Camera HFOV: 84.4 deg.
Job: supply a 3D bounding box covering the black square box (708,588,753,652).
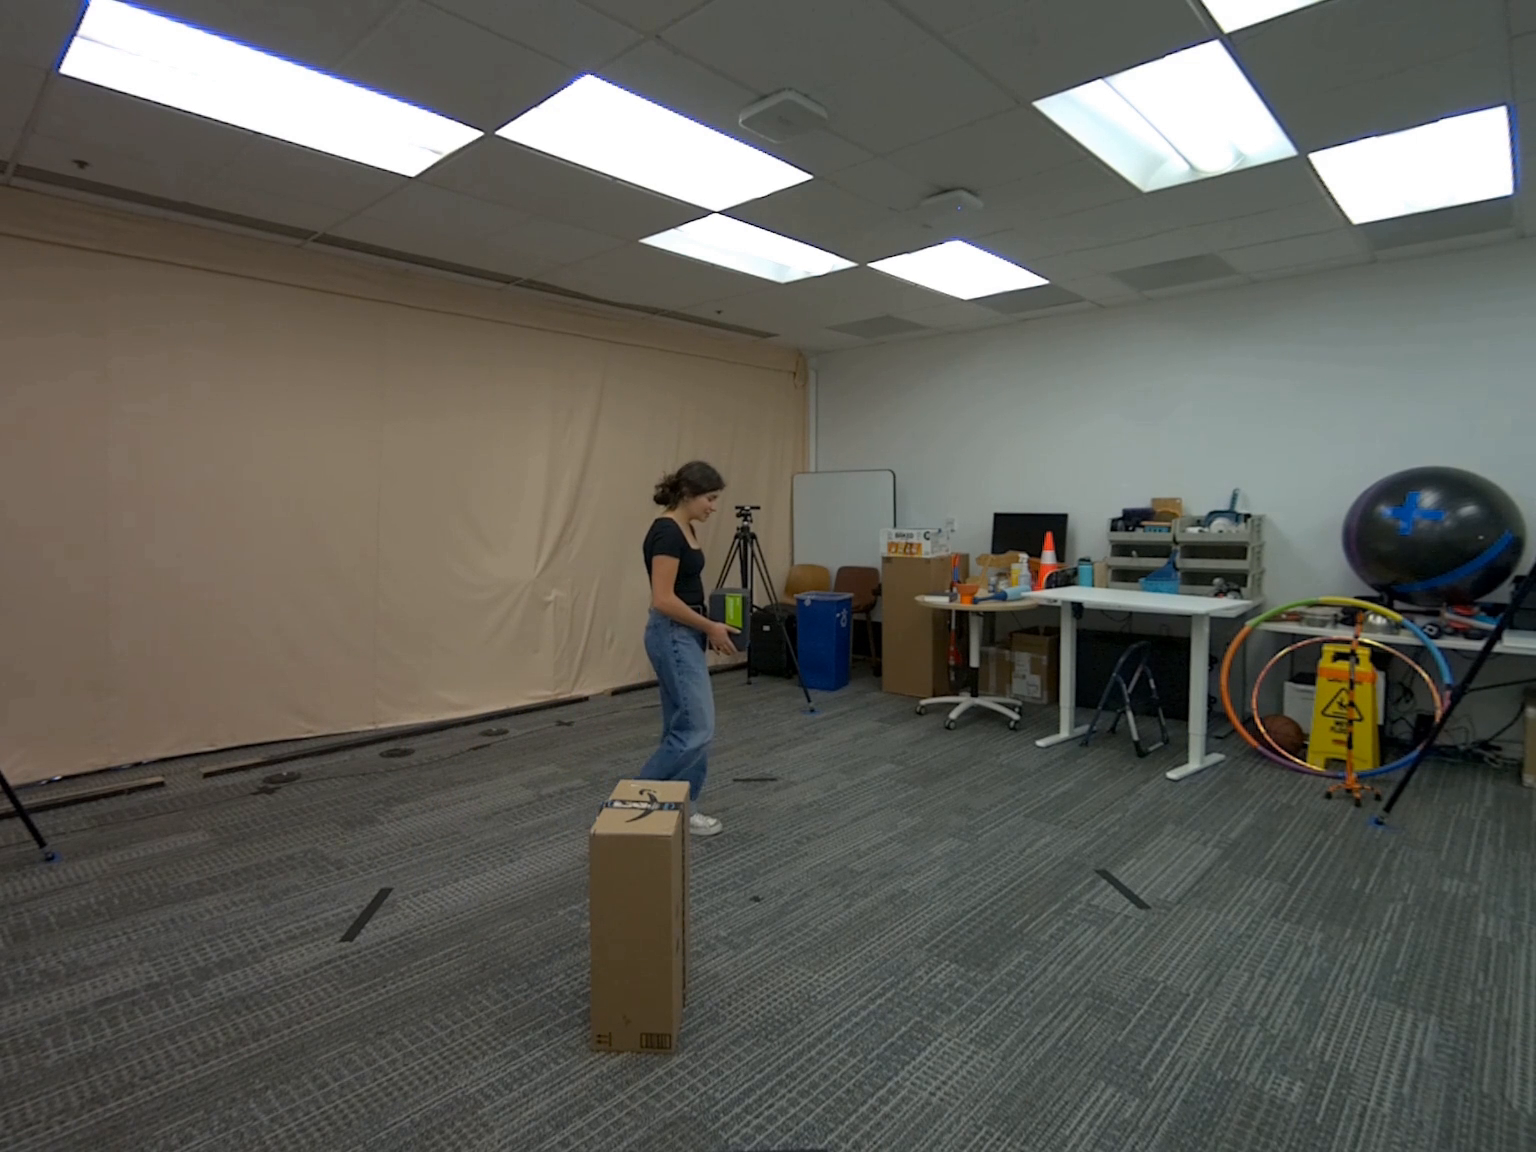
[{"bbox_3d":[-0.169,0.173,3.498,0.156,0.227,0.217,3,8,2],"label":"black square box"}]
